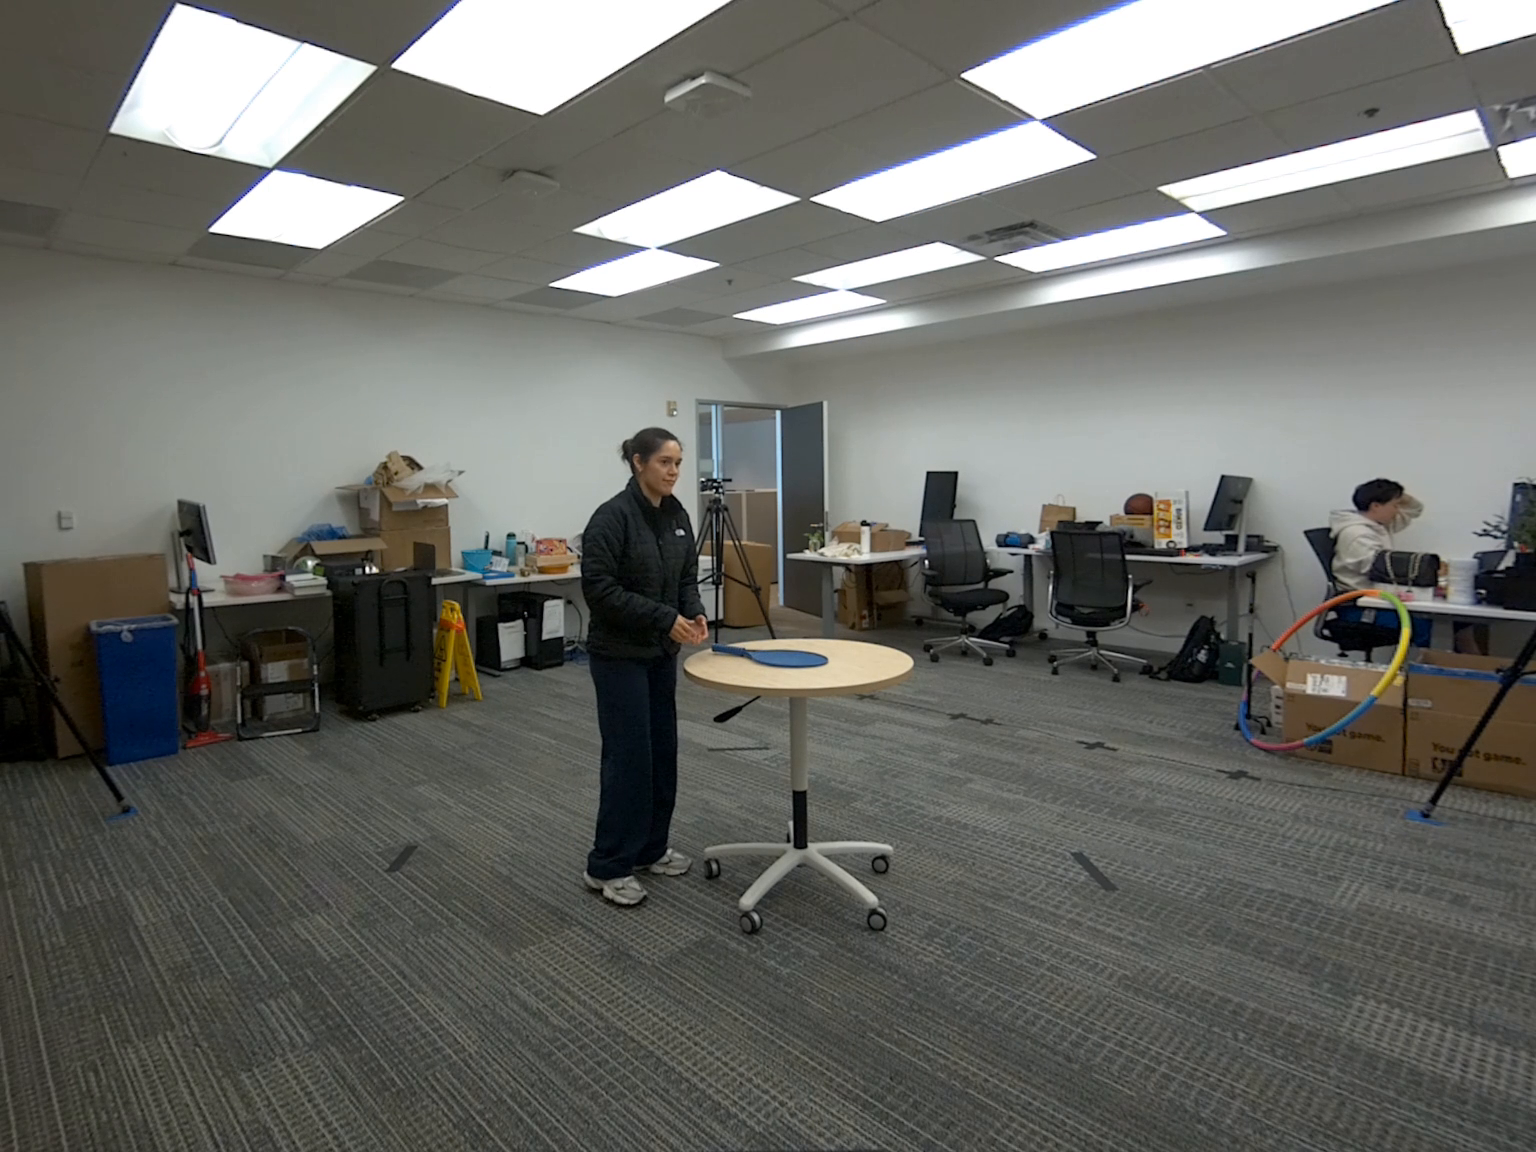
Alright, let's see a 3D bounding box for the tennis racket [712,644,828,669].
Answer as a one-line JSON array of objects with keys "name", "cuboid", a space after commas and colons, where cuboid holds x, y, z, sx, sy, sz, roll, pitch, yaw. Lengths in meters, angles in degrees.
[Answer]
[{"name": "tennis racket", "cuboid": [0.001, 0.273, 2.914, 0.445, 0.031, 0.209, 4, 7, 32]}]
